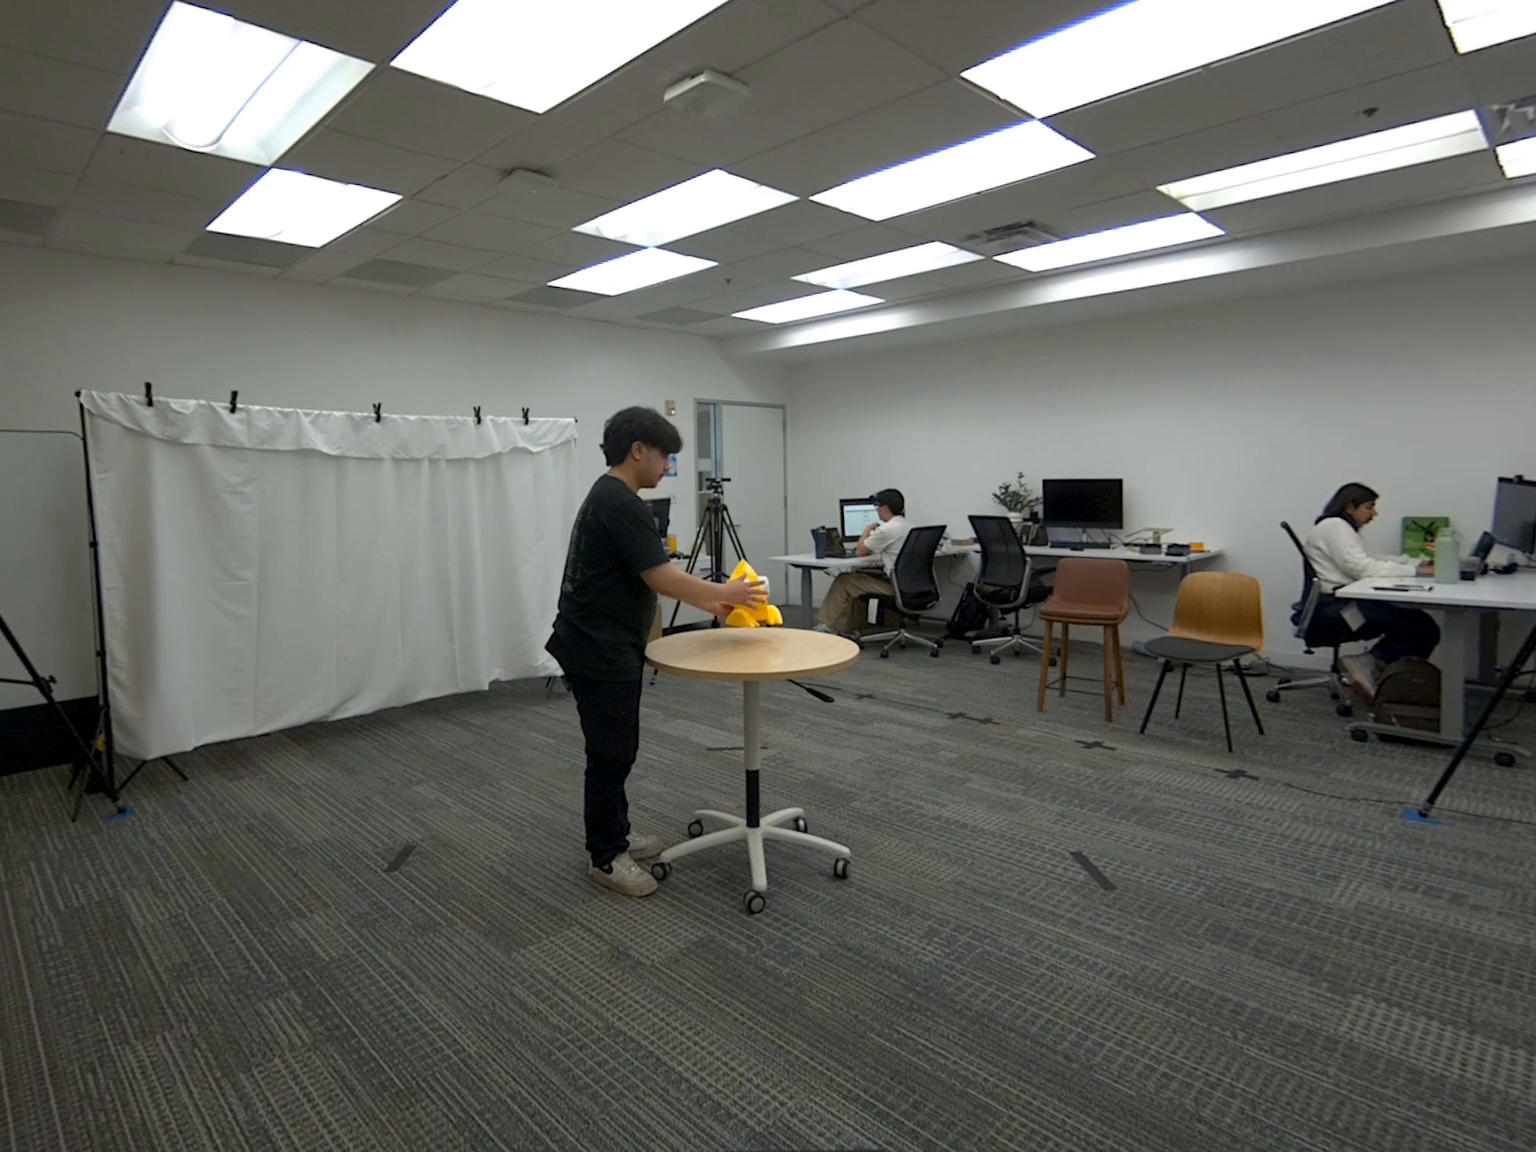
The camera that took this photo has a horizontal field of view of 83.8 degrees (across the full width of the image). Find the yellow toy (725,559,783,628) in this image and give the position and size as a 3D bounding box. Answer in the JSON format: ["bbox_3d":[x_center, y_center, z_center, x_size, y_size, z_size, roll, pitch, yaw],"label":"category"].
[{"bbox_3d":[-0.060,0.057,3.142,0.199,0.230,0.199,-3,5,-37],"label":"yellow toy"}]
